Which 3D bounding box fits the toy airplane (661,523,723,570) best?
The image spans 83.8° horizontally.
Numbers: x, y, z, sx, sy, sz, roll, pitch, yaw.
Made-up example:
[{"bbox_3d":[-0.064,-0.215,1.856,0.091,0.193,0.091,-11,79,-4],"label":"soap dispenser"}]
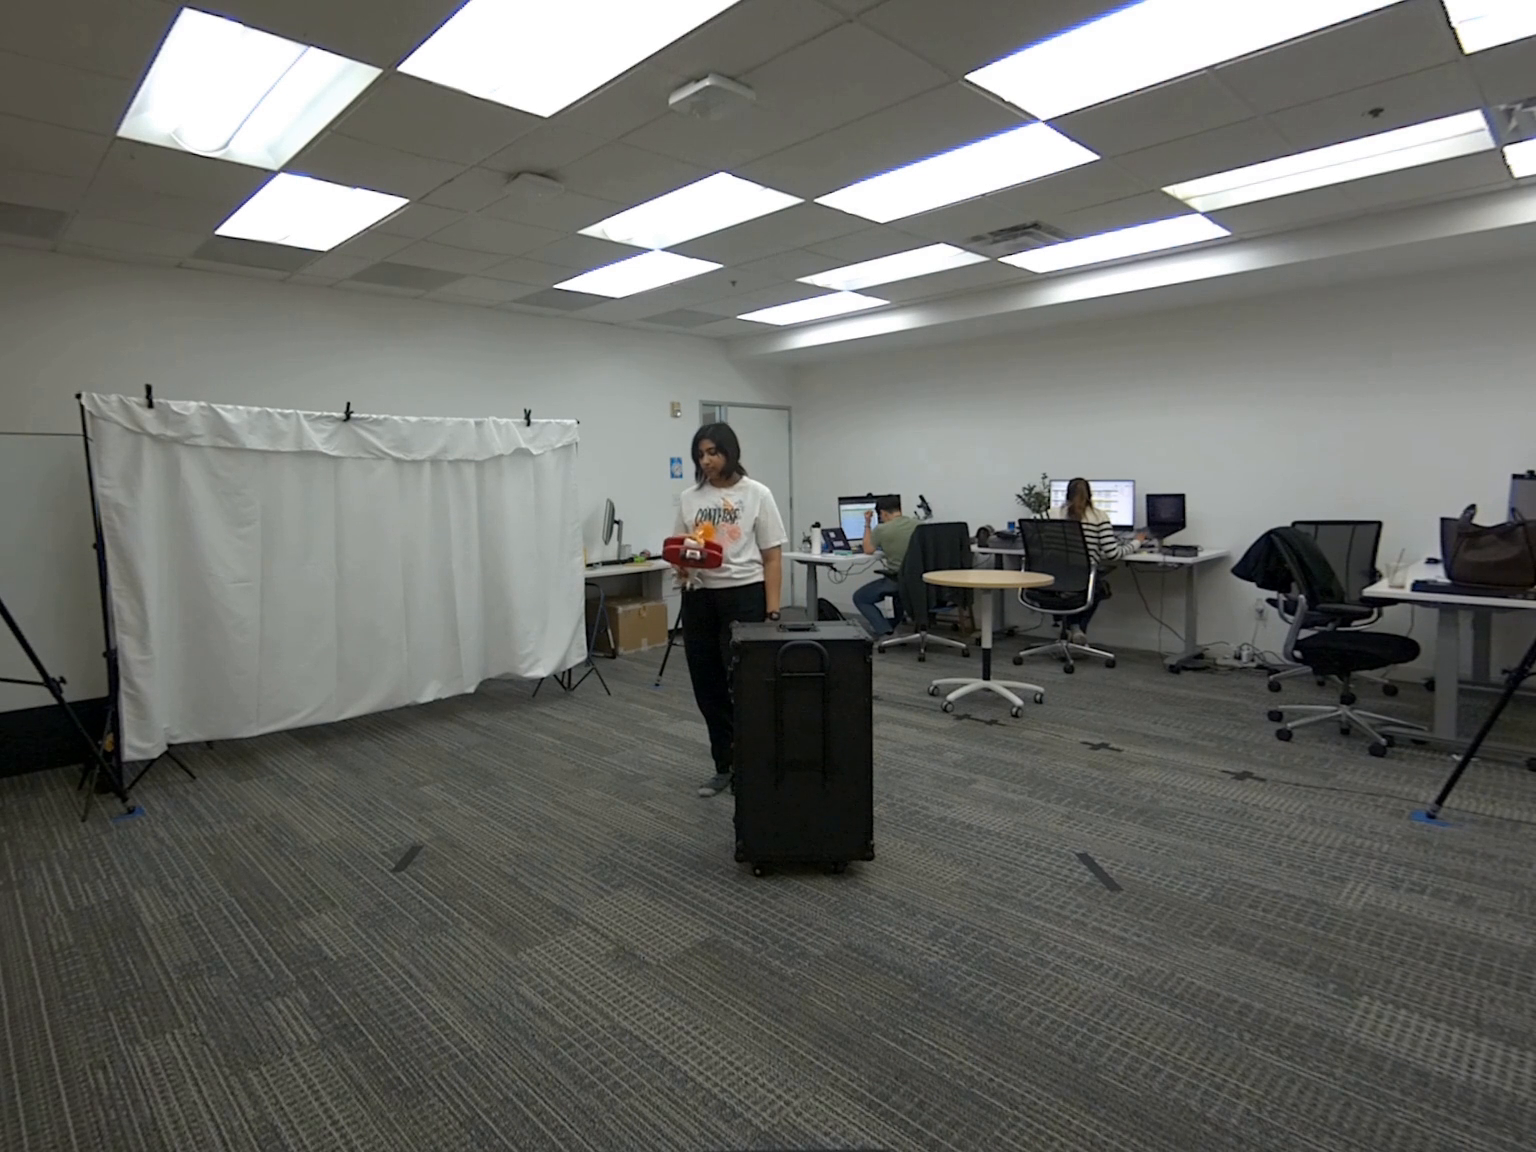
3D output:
[{"bbox_3d":[-0.341,-0.061,3.625,0.244,0.160,0.259,28,-52,-23],"label":"toy airplane"}]
